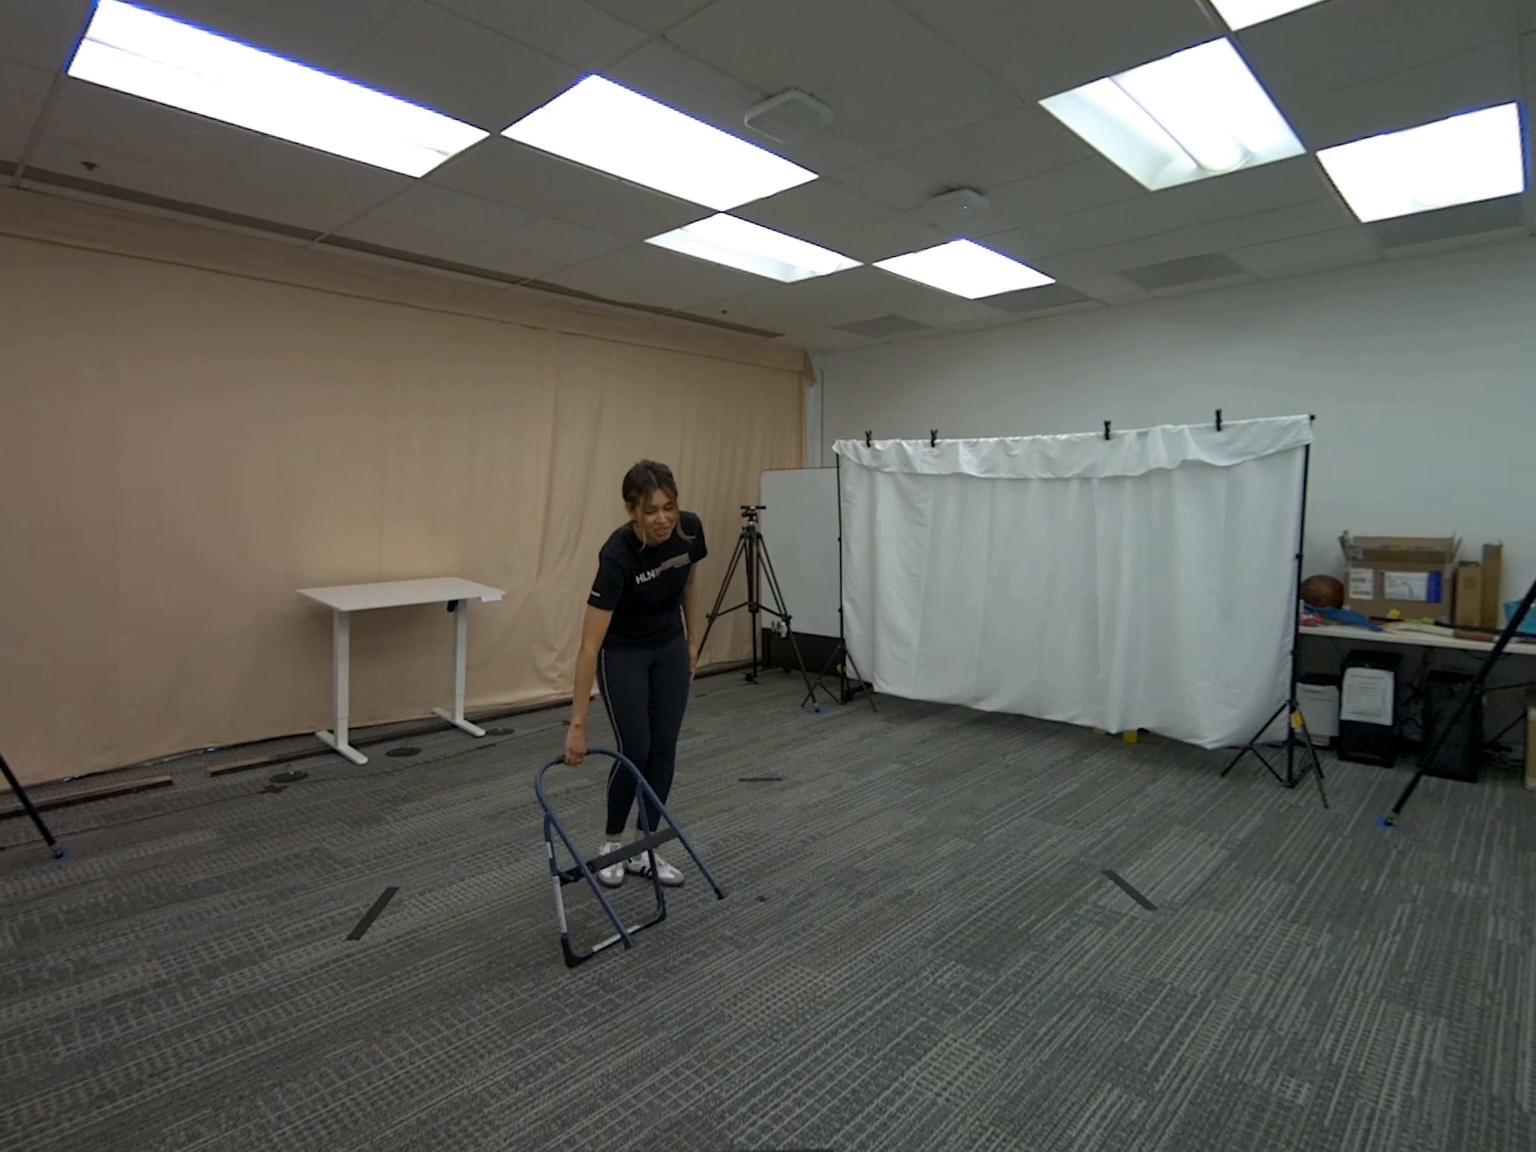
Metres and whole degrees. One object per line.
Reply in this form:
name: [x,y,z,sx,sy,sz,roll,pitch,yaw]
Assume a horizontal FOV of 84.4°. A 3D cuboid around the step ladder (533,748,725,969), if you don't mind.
step ladder: [-0.478,0.828,2.686,0.354,0.616,0.417,-36,-20,35]
